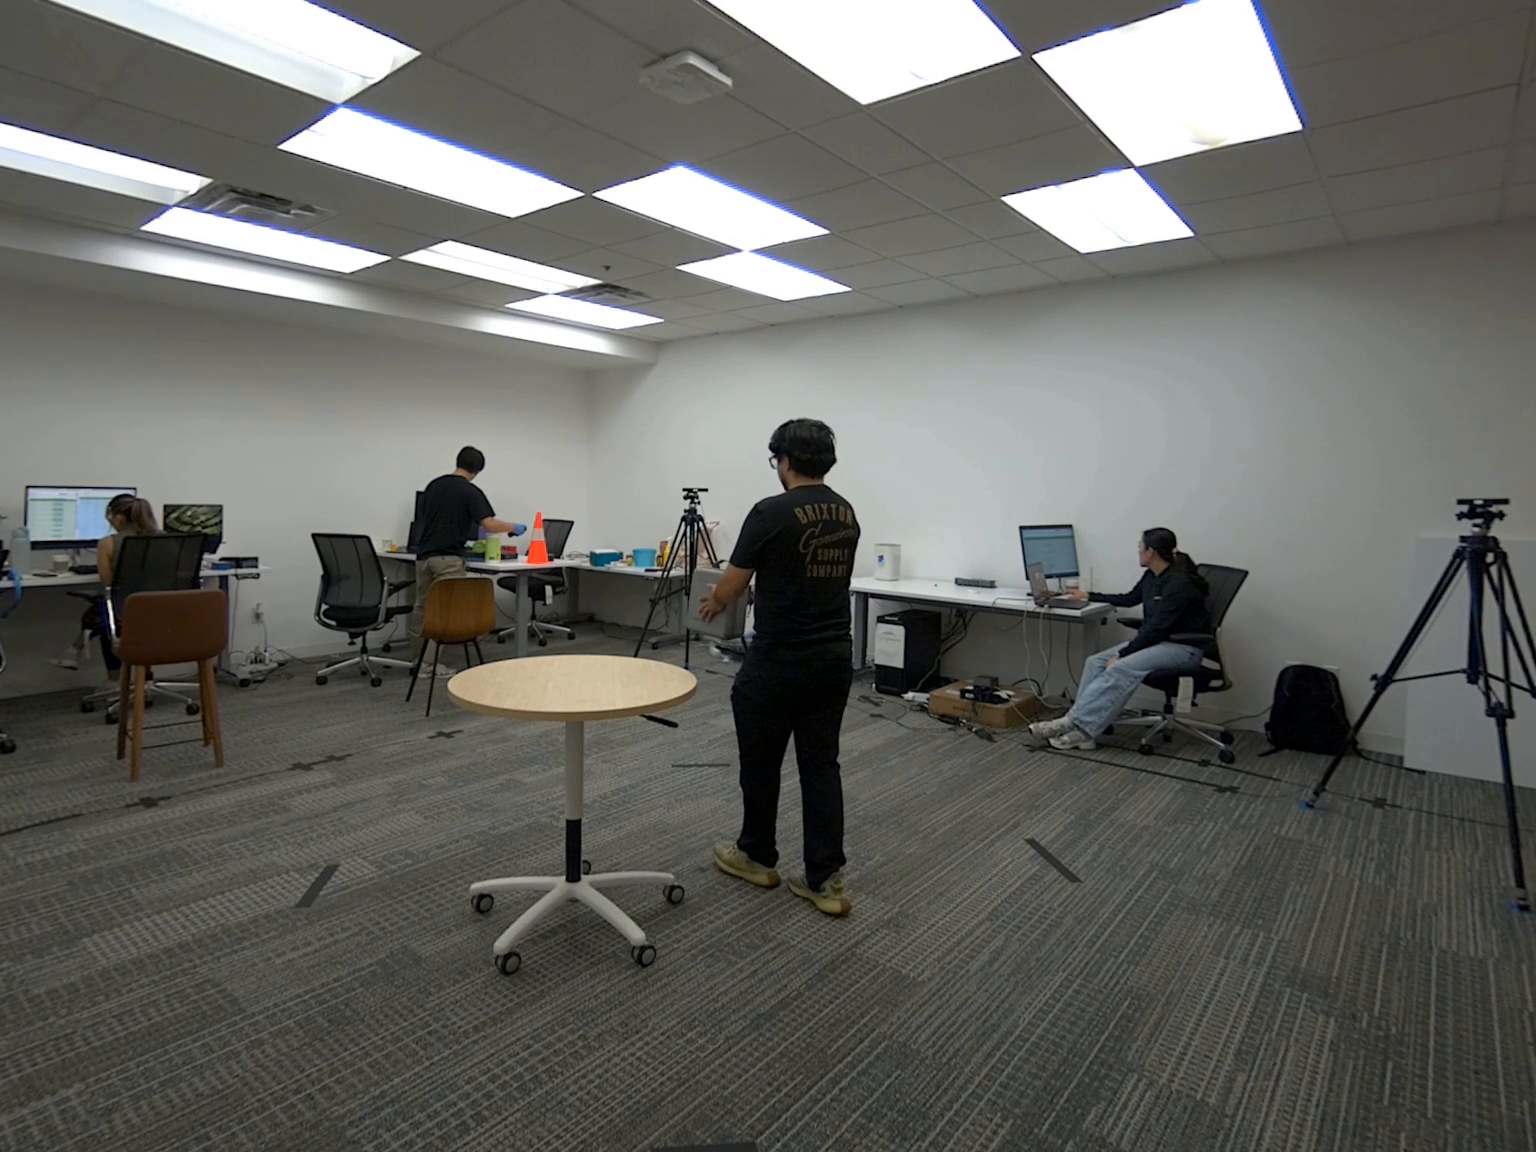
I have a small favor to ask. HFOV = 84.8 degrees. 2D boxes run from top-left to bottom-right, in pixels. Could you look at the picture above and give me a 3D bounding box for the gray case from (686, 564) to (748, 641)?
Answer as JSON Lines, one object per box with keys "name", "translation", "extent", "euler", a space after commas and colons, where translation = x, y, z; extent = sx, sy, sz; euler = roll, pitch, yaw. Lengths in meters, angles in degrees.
{"name": "gray case", "translation": [-0.205, 0.094, 3.267], "extent": [0.101, 0.260, 0.266], "euler": [6, 2, -41]}
